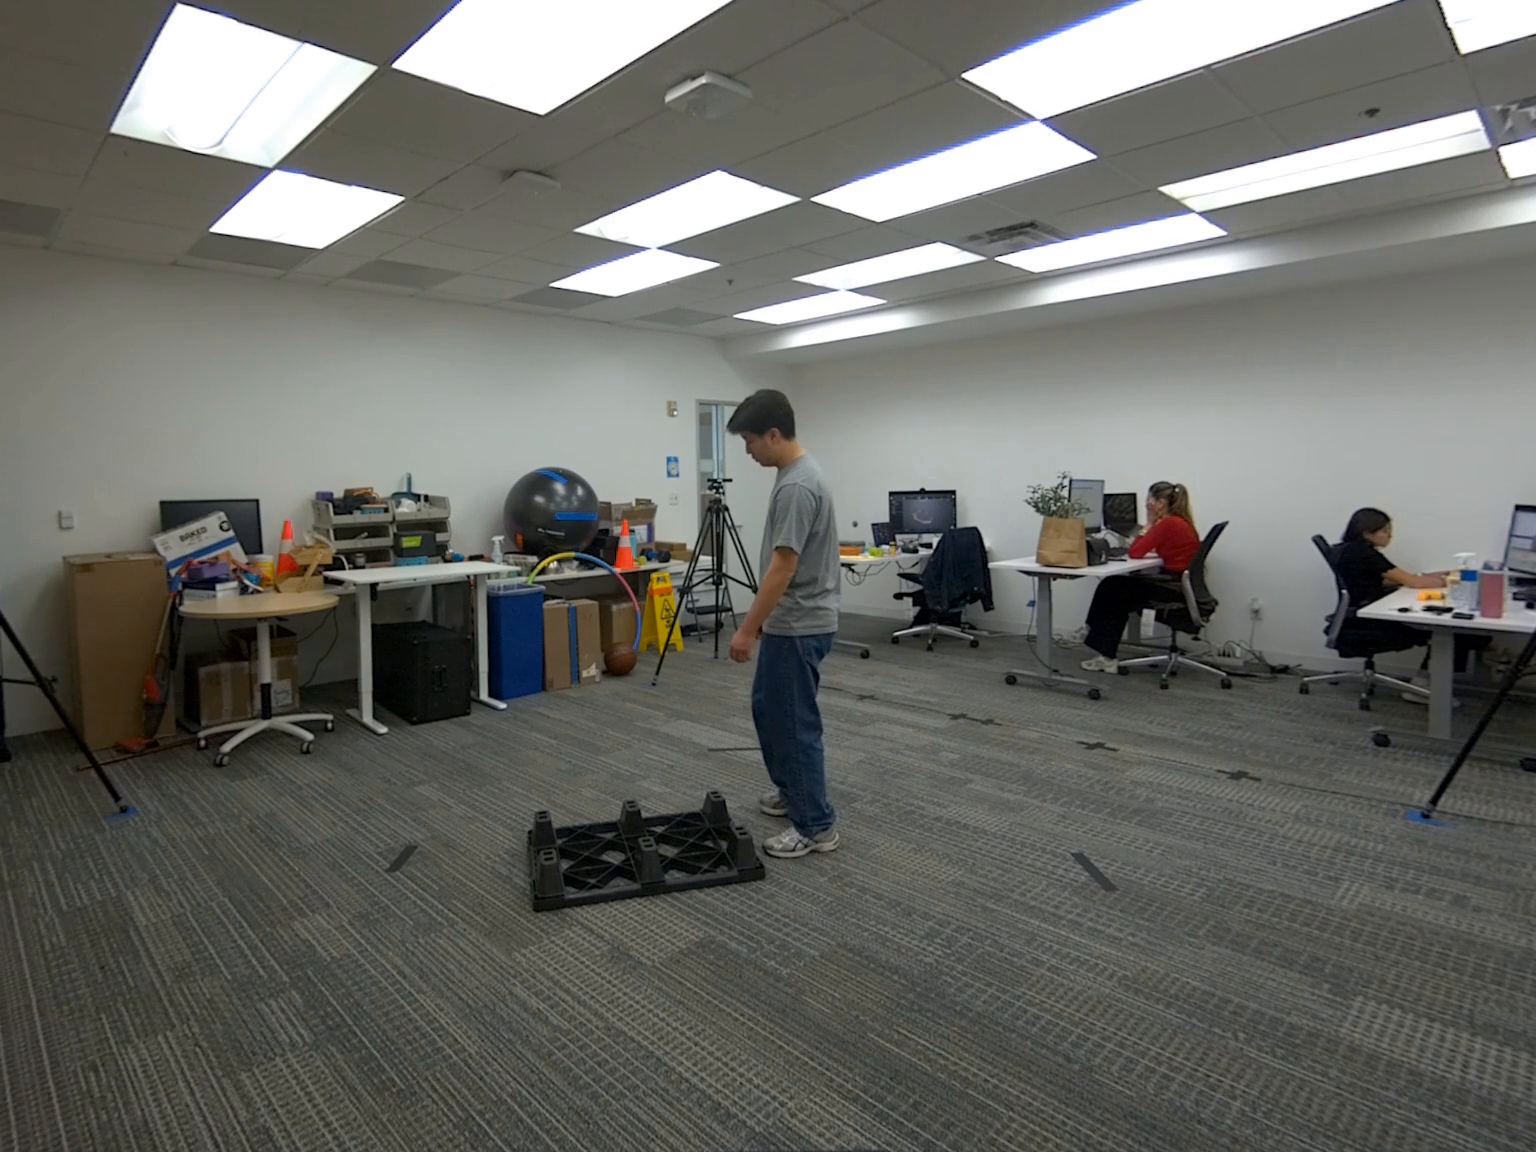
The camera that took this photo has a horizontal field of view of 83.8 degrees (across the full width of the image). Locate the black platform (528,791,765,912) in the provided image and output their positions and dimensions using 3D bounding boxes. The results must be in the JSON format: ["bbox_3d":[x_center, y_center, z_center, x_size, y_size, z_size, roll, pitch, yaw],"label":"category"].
[{"bbox_3d":[-0.473,0.979,3.154,0.794,0.143,0.617,-3,6,-16],"label":"black platform"}]
